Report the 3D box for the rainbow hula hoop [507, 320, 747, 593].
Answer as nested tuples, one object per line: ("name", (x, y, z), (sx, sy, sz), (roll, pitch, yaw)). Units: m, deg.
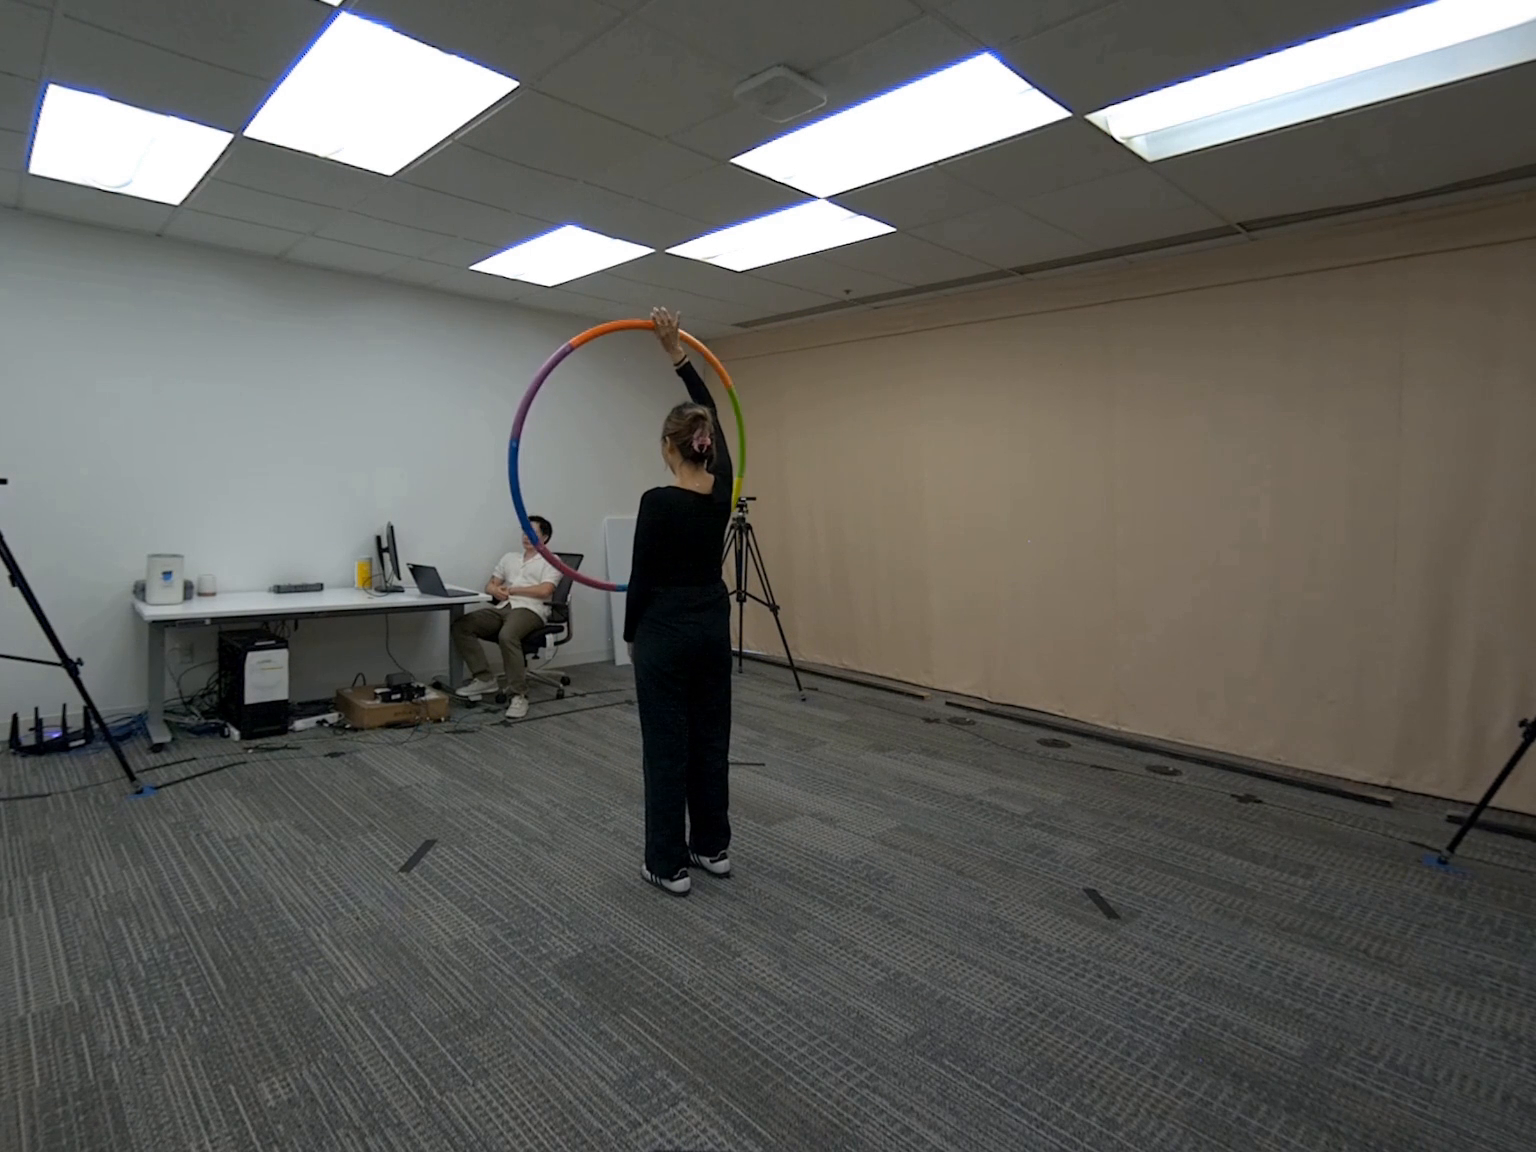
("rainbow hula hoop", (-0.466, -0.424, 3.075), (0.963, 0.978, 0.053), (-2, 14, -38))
